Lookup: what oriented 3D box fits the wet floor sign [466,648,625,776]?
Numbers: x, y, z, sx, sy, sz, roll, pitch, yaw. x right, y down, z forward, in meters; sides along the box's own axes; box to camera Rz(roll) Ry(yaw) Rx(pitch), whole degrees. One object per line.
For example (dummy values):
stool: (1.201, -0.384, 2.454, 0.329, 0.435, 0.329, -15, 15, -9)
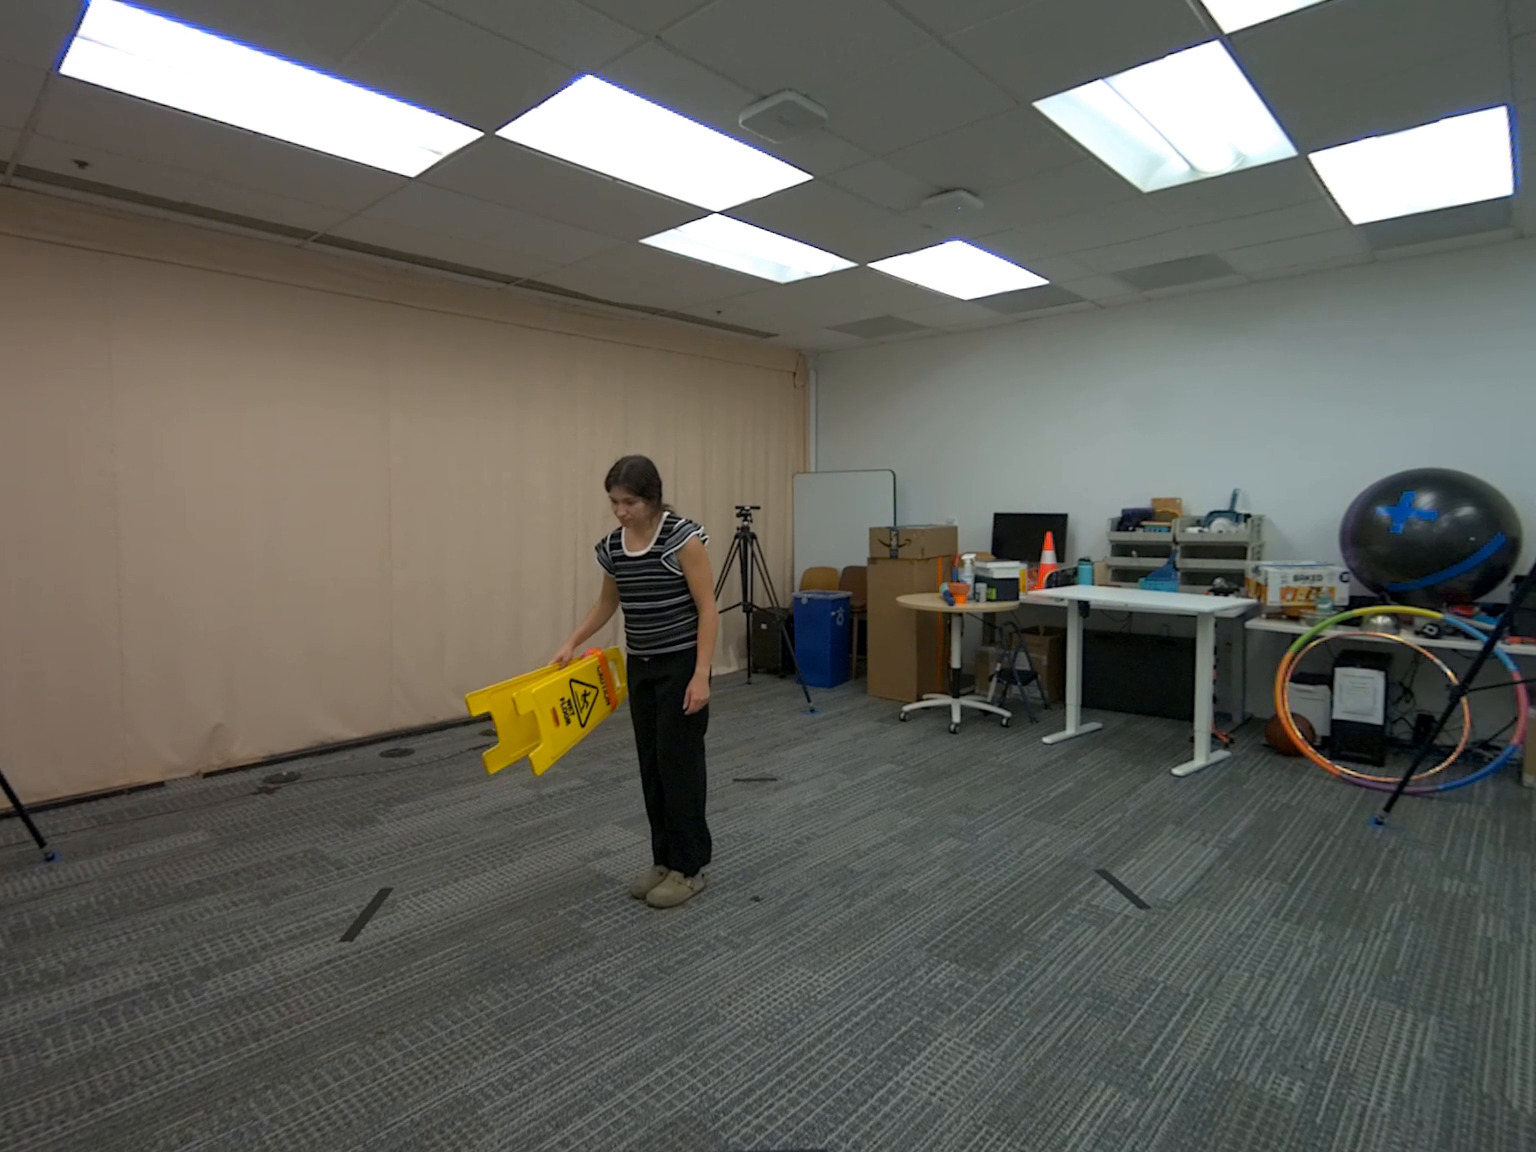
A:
wet floor sign: (-0.712, 0.451, 2.995, 0.297, 0.280, 0.633, -9, 9, 31)
